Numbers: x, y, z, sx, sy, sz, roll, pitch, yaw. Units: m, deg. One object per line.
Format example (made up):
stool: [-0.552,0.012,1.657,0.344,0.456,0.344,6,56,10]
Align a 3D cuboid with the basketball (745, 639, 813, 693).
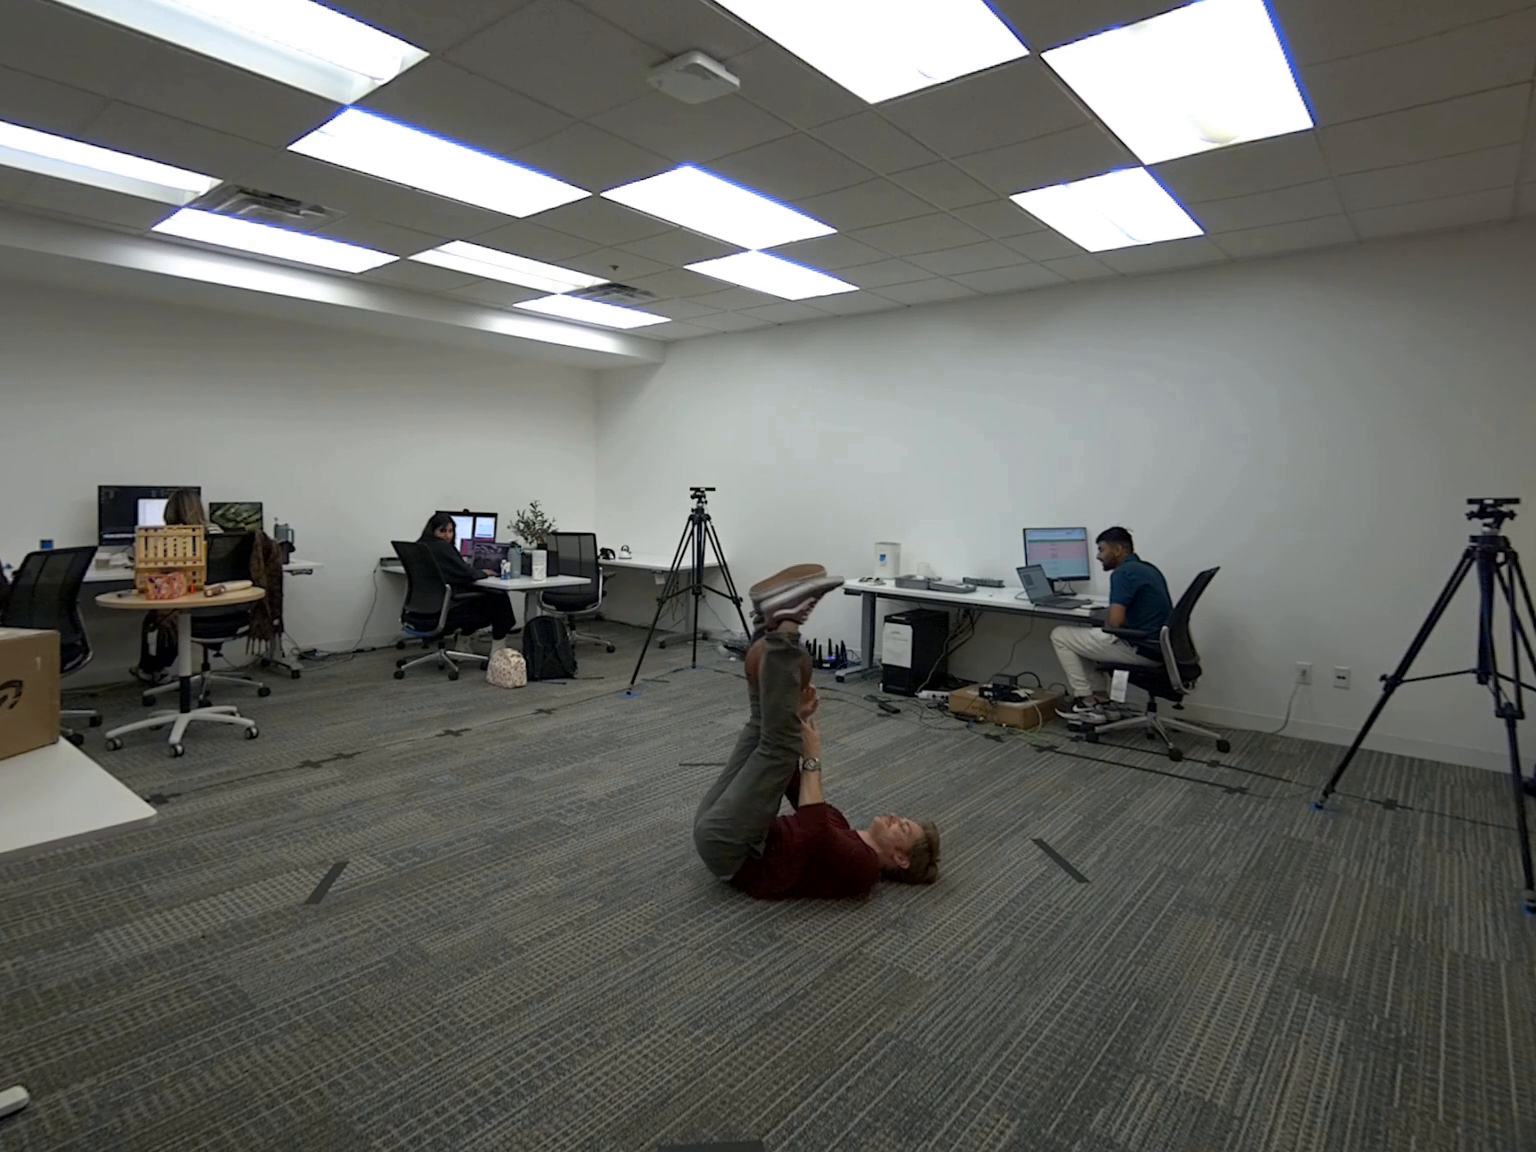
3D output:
basketball: [0.018,0.317,2.992,0.235,0.235,0.237,1,4,-2]
